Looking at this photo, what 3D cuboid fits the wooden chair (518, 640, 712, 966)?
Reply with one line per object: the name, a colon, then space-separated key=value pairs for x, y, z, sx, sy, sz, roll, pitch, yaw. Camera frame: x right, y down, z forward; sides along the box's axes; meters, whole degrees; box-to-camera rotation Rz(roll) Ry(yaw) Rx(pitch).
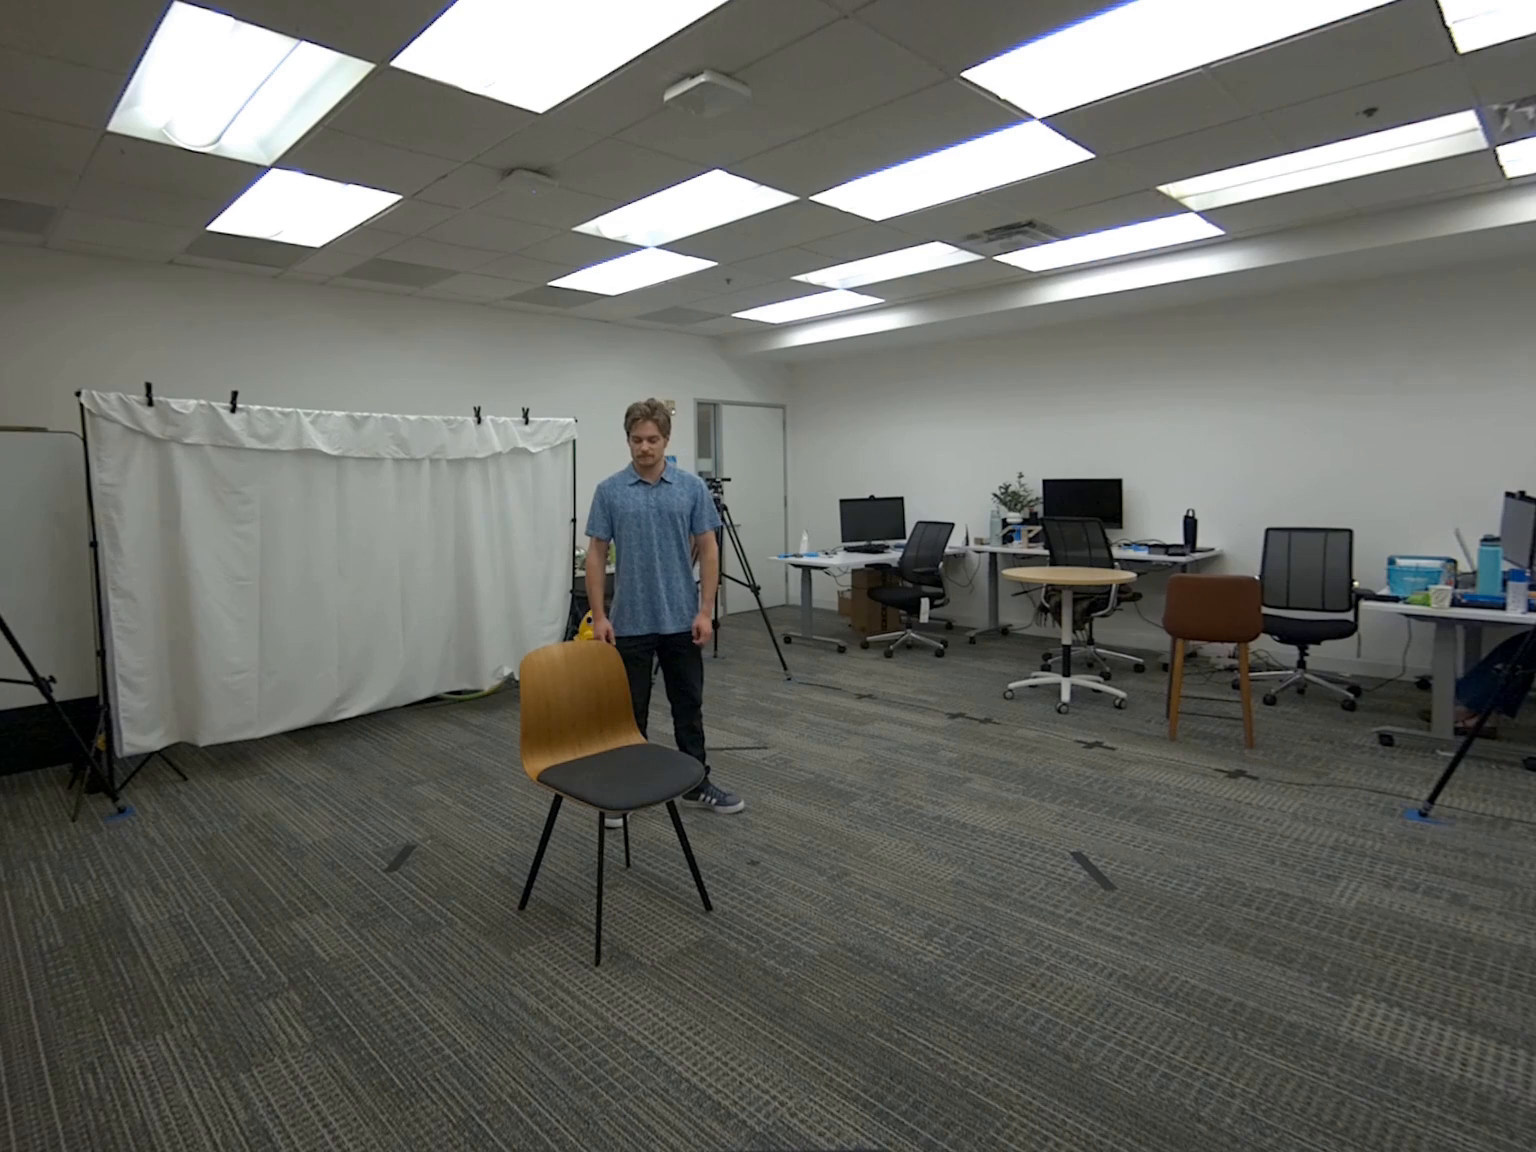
wooden chair: x=-0.499 y=0.669 z=2.740 sx=0.465 sy=0.876 sz=0.538 roll=-5 pitch=2 yaw=-44
